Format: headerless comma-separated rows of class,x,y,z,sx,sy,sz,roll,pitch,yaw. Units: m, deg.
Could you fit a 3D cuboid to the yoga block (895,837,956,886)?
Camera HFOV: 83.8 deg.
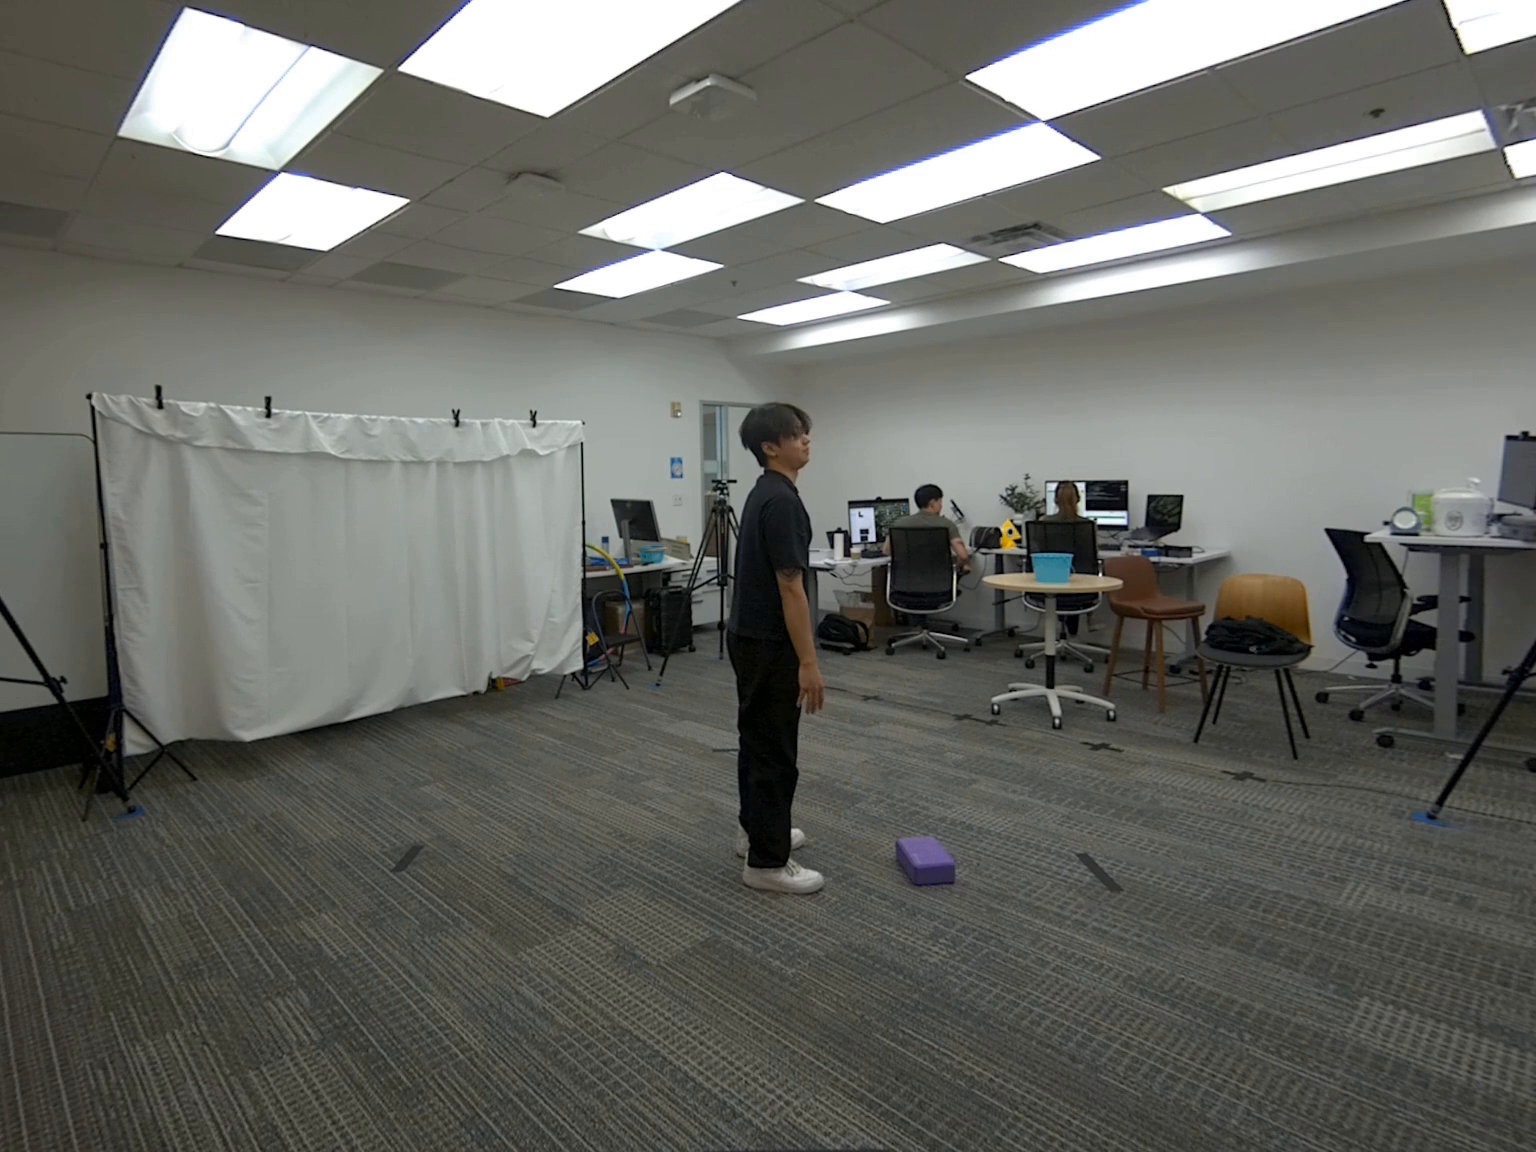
yoga block,0.563,1.009,3.034,0.148,0.076,0.231,-1,4,-6
